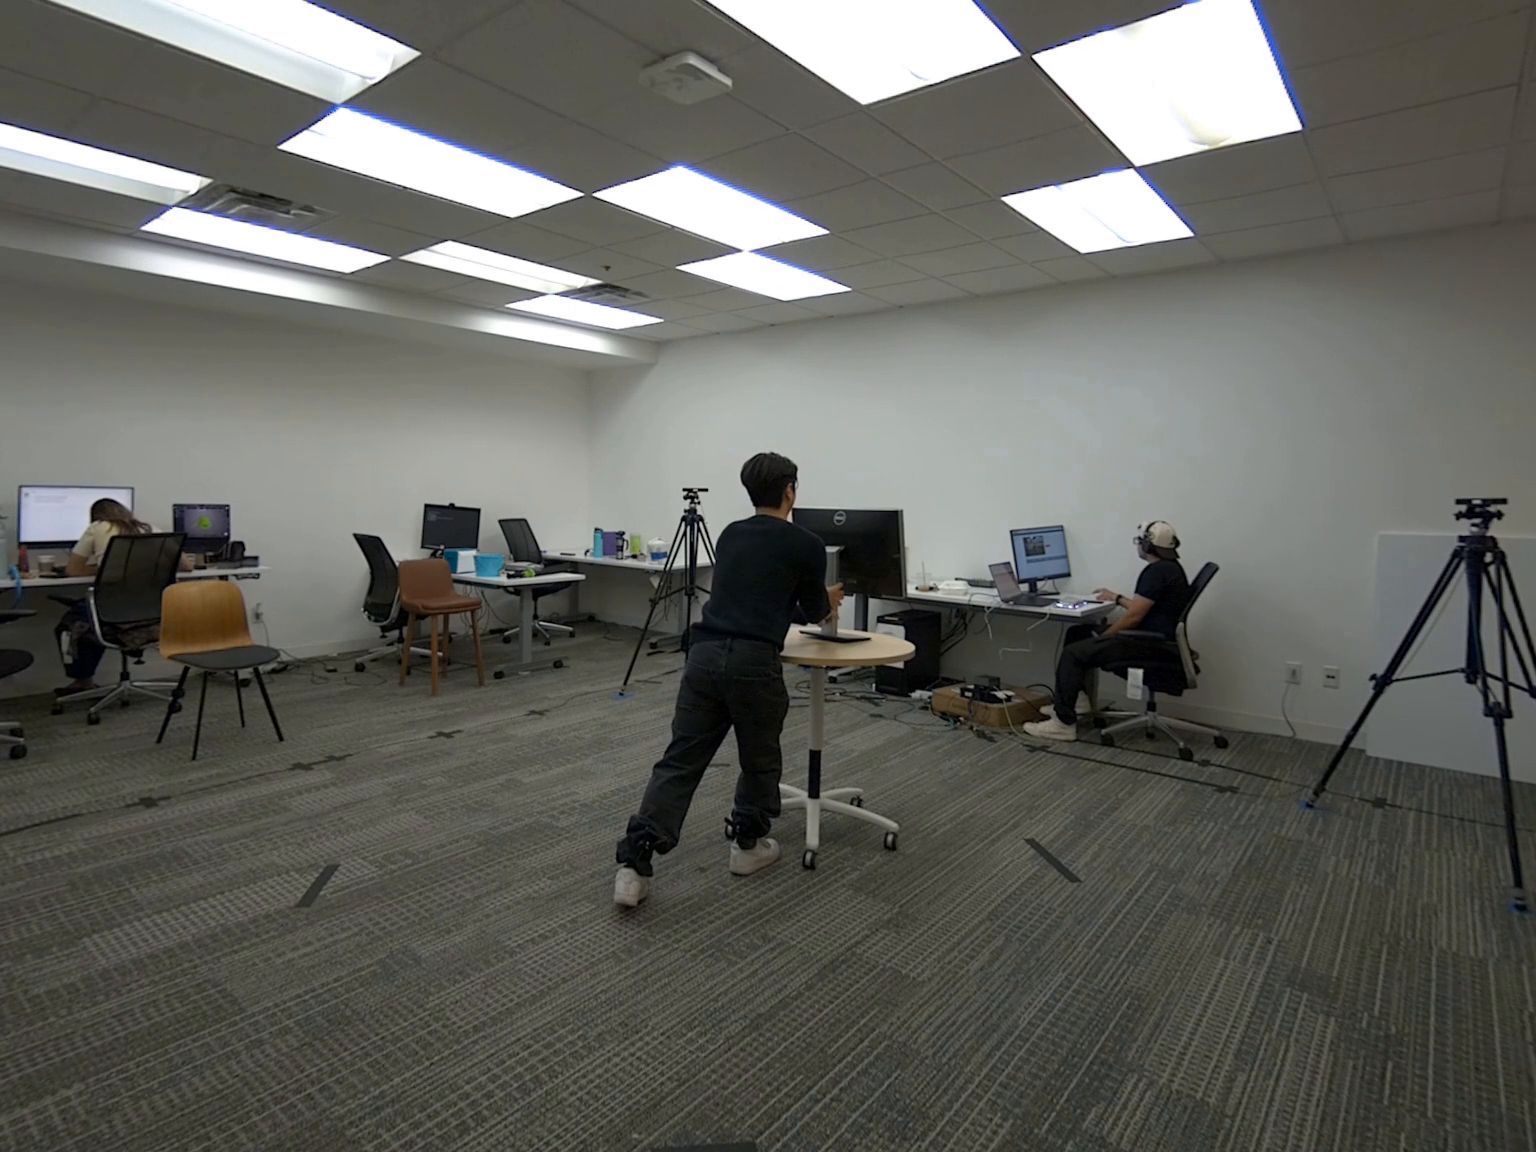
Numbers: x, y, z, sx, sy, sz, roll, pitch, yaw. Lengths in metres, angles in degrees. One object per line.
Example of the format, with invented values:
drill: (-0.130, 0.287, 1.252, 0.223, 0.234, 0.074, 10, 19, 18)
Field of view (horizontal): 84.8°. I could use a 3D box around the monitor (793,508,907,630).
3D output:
monitor: (0.298, -0.022, 3.564, 0.547, 0.518, 0.168, 2, -5, 41)
